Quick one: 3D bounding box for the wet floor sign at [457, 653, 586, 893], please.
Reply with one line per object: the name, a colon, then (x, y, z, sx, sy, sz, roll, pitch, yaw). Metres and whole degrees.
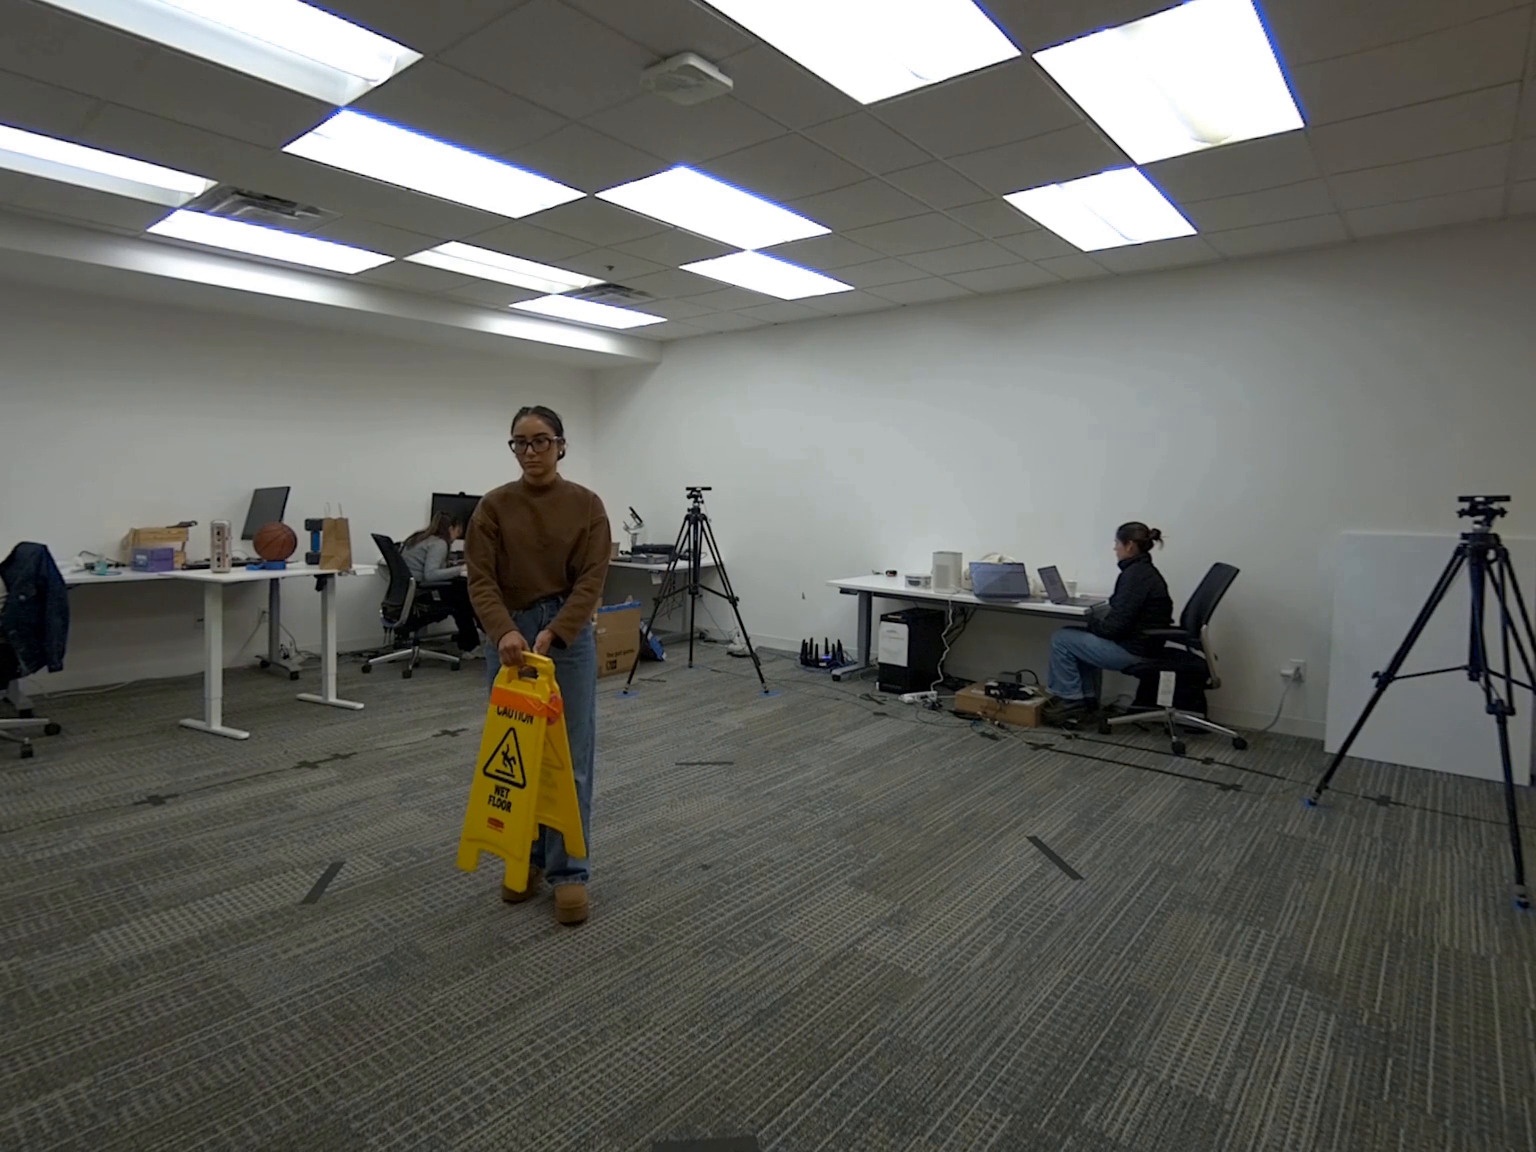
wet floor sign: (-0.747, 0.552, 2.558, 0.291, 0.643, 0.282, 4, 6, 31)
